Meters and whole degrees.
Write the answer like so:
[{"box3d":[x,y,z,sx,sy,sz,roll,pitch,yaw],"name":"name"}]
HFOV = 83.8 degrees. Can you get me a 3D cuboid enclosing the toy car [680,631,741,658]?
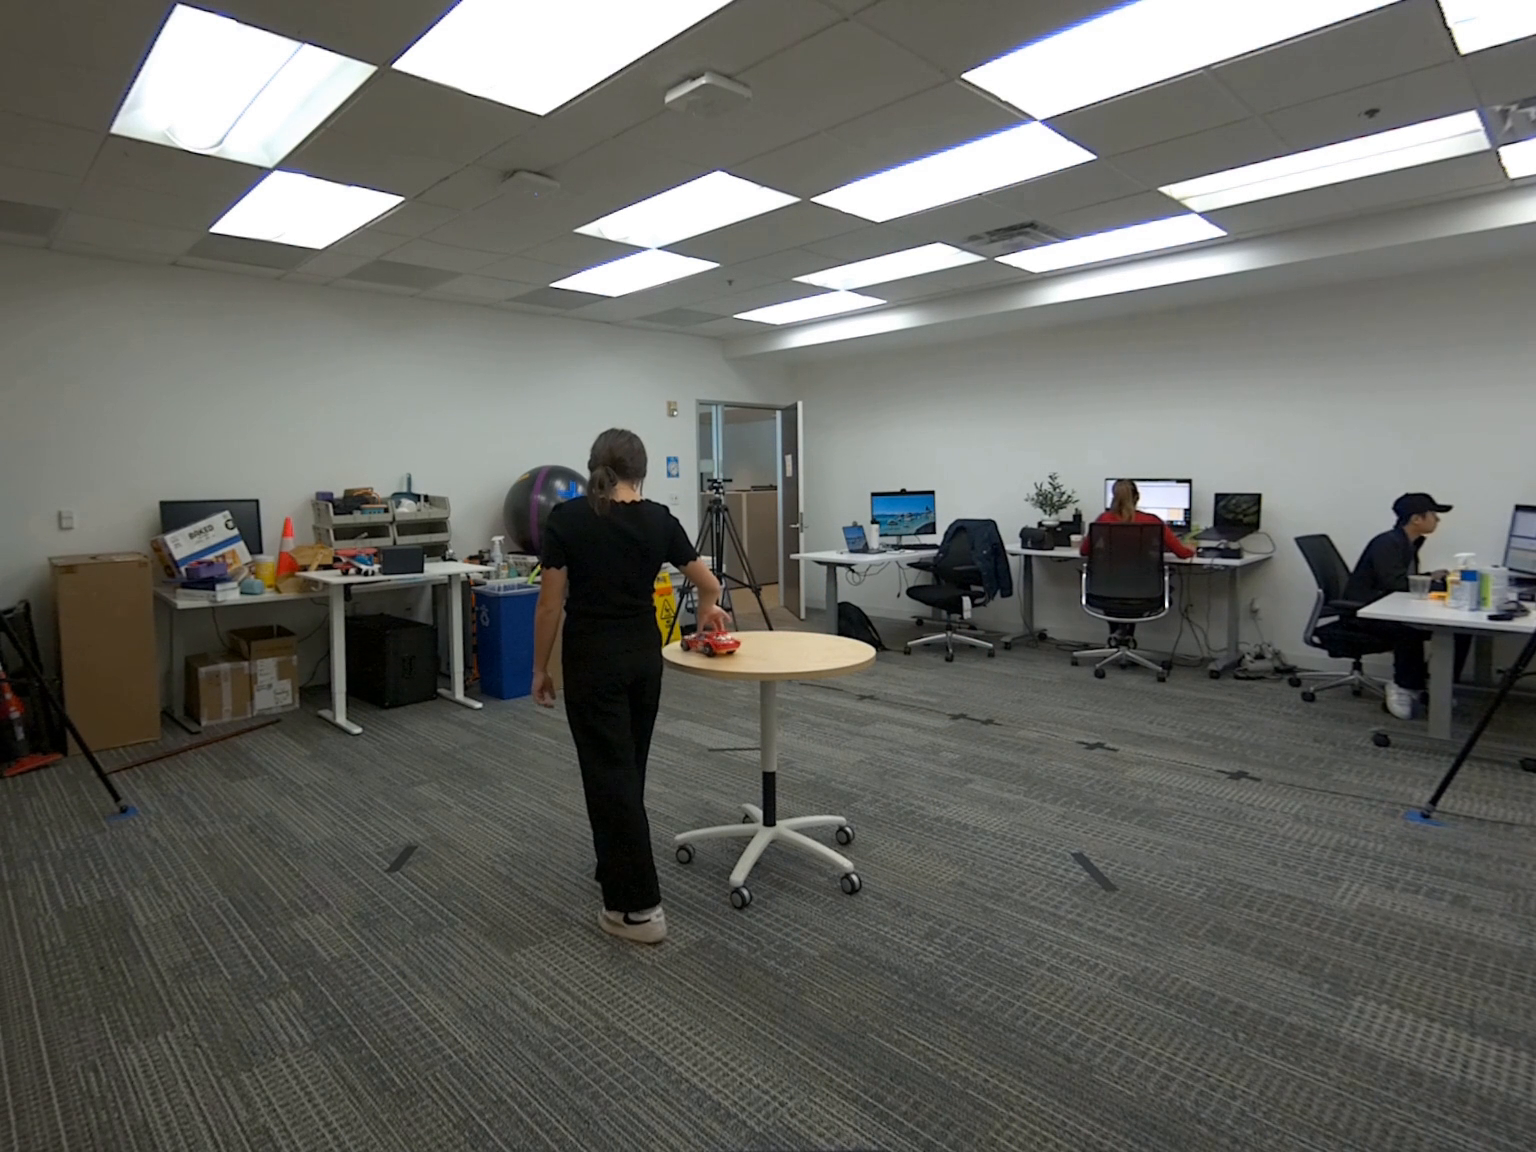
[{"box3d":[-0.192,0.240,3.014,0.127,0.083,0.260,-4,-4,-38],"name":"toy car"}]
